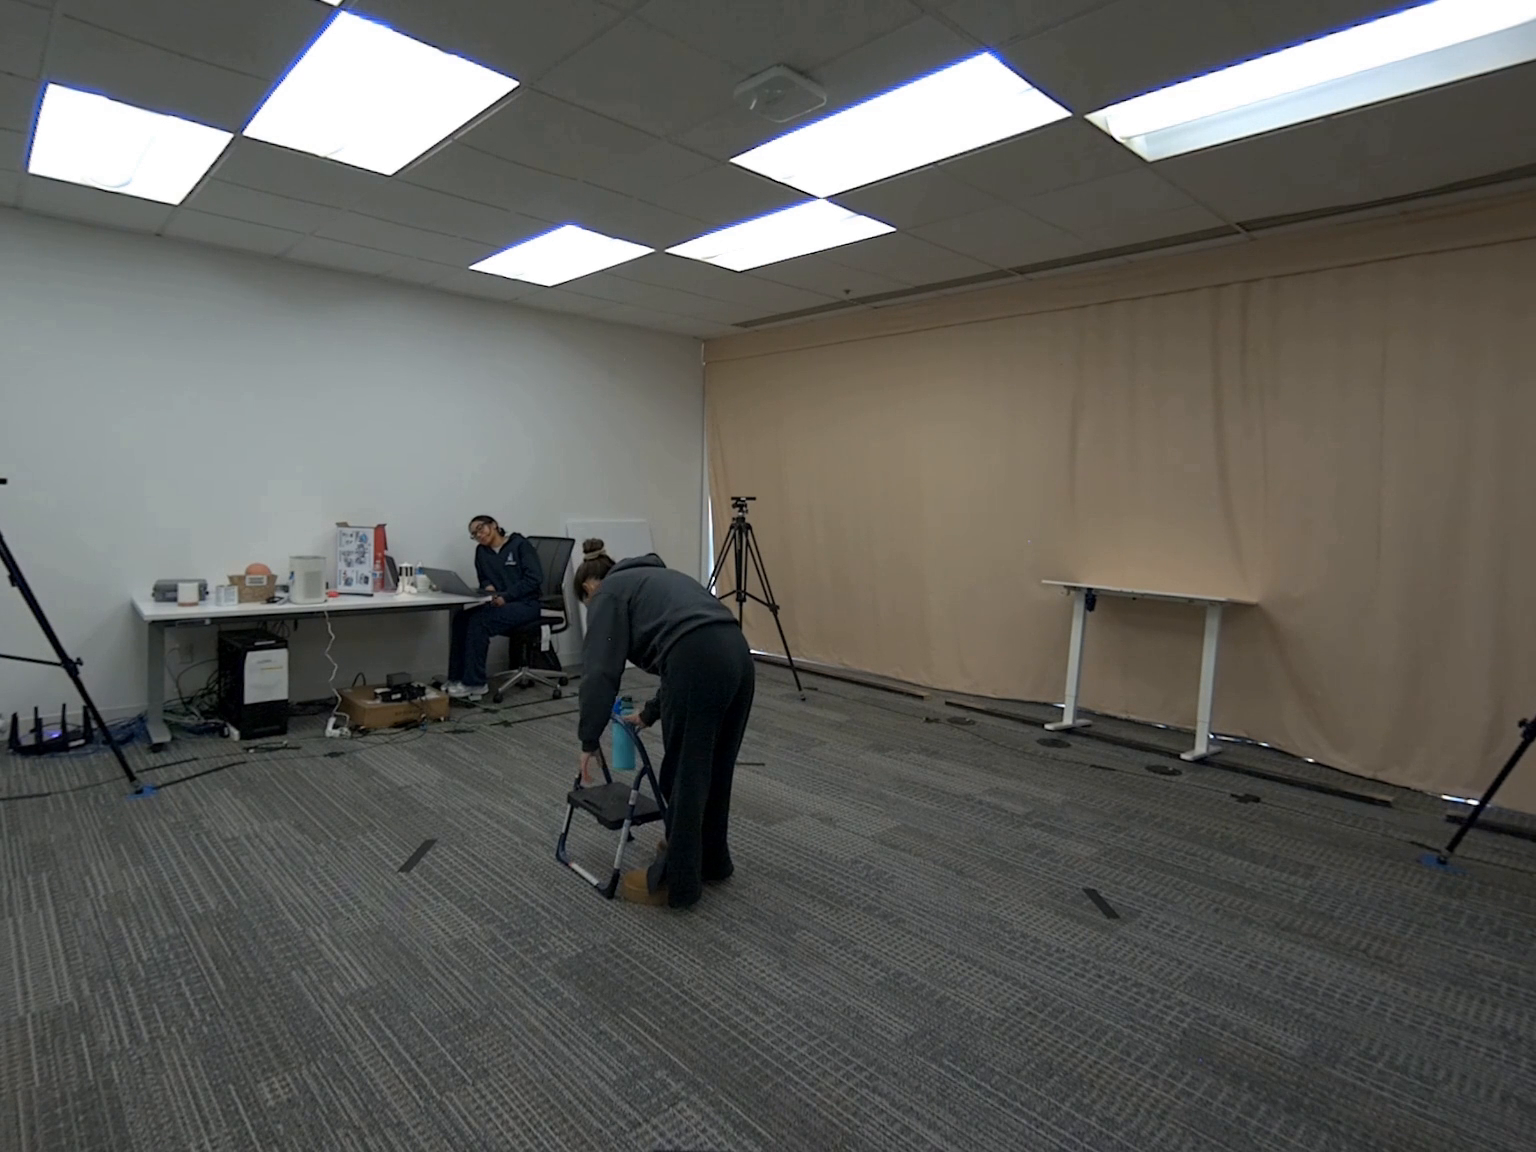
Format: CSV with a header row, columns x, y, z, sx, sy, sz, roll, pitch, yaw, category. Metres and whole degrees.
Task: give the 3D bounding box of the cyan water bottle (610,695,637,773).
x,y,z,sx,sy,sz,roll,pitch,yaw,category
-0.561,0.605,3.212,0.092,0.285,0.092,1,-7,-1,cyan water bottle
